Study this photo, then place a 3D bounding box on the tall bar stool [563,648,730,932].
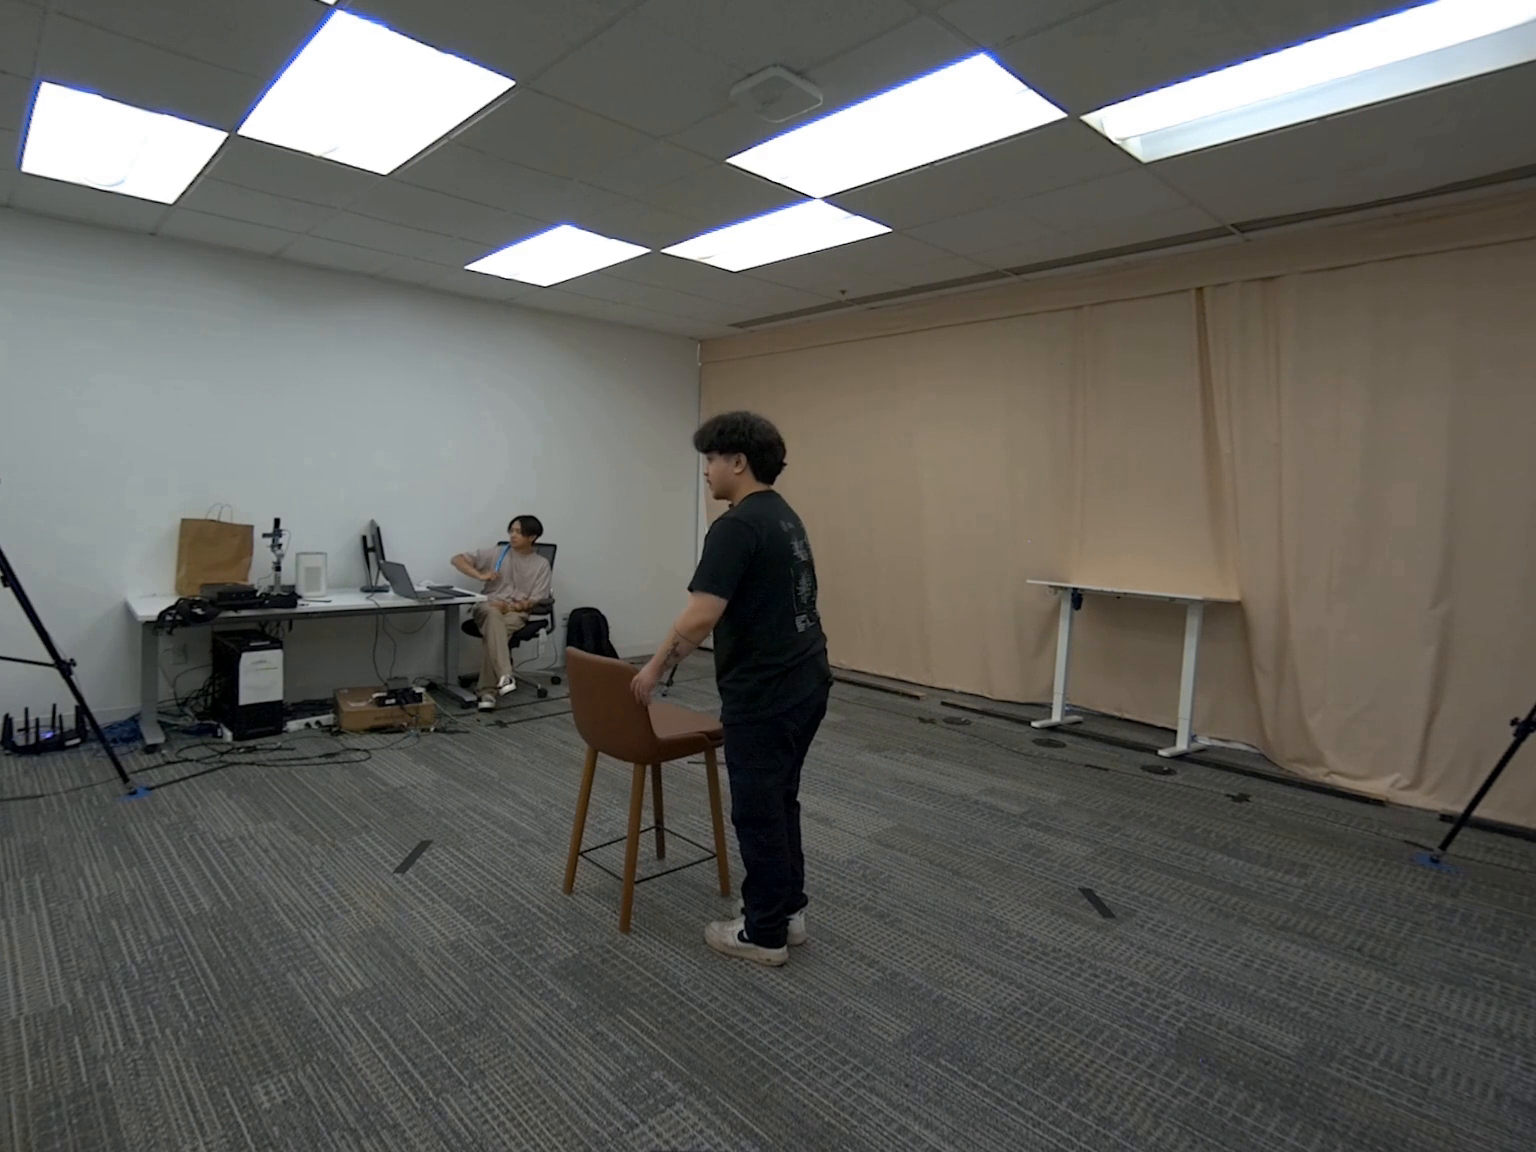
[{"bbox_3d":[-0.435,0.679,2.934,0.457,0.886,0.468,-5,7,-42],"label":"tall bar stool"}]
